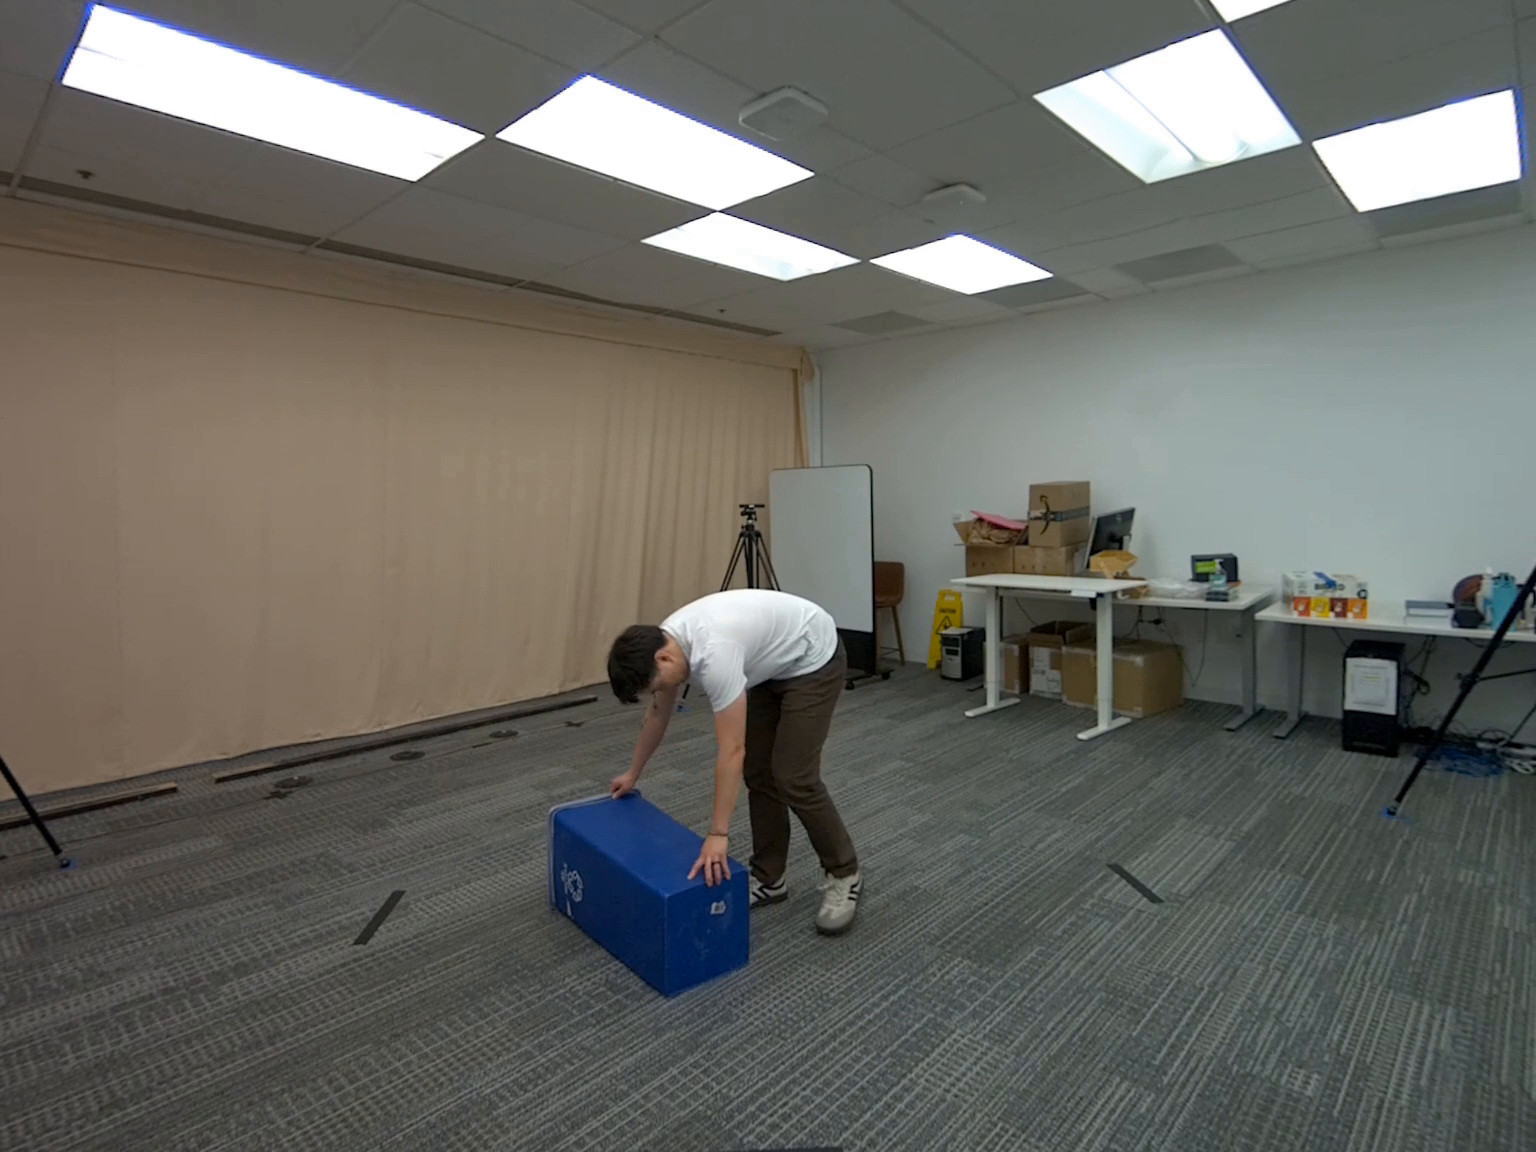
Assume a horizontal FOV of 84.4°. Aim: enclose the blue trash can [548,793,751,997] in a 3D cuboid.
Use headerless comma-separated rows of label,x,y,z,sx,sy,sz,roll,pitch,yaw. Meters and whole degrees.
blue trash can,-0.396,1.004,2.718,0.363,0.377,0.737,-3,6,-38
